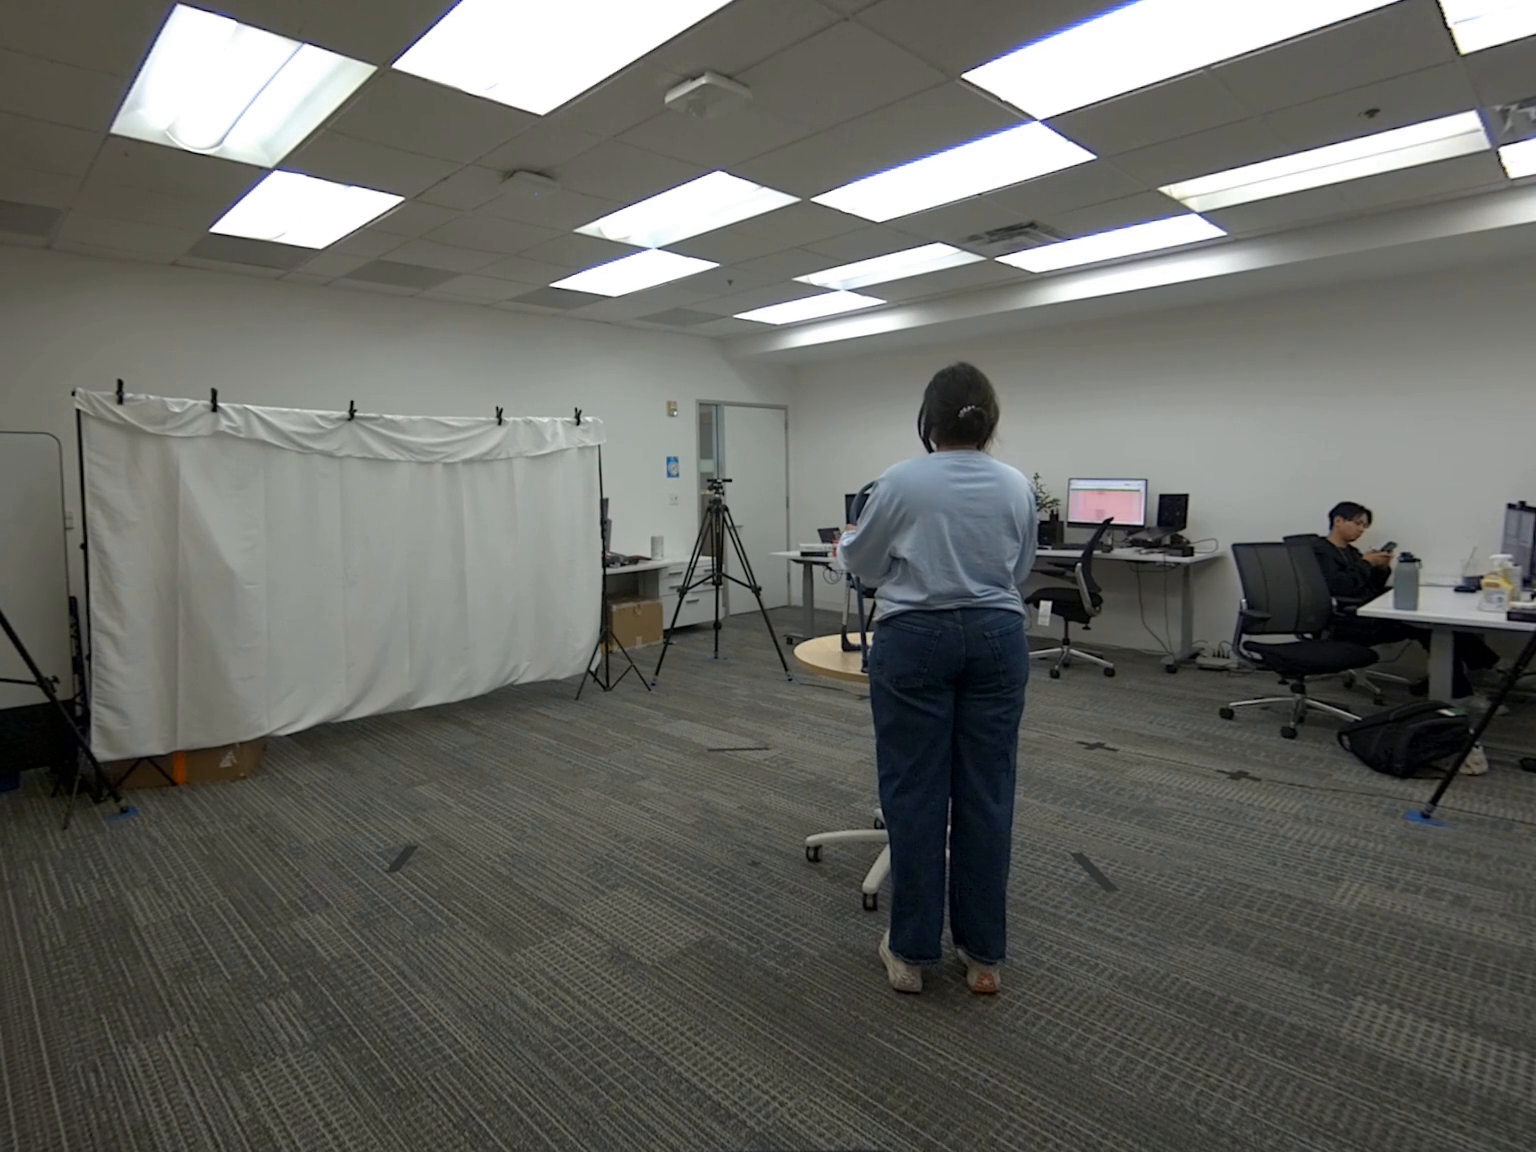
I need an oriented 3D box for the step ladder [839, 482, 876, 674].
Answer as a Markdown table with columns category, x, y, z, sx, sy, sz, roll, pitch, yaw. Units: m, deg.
| category | x | y | z | sx | sy | sz | roll | pitch | yaw |
| --- | --- | --- | --- | --- | --- | --- | --- | --- | --- |
| step ladder | 0.488 | -0.019 | 2.840 | 0.428 | 0.603 | 0.353 | -2 | 6 | -6 |
